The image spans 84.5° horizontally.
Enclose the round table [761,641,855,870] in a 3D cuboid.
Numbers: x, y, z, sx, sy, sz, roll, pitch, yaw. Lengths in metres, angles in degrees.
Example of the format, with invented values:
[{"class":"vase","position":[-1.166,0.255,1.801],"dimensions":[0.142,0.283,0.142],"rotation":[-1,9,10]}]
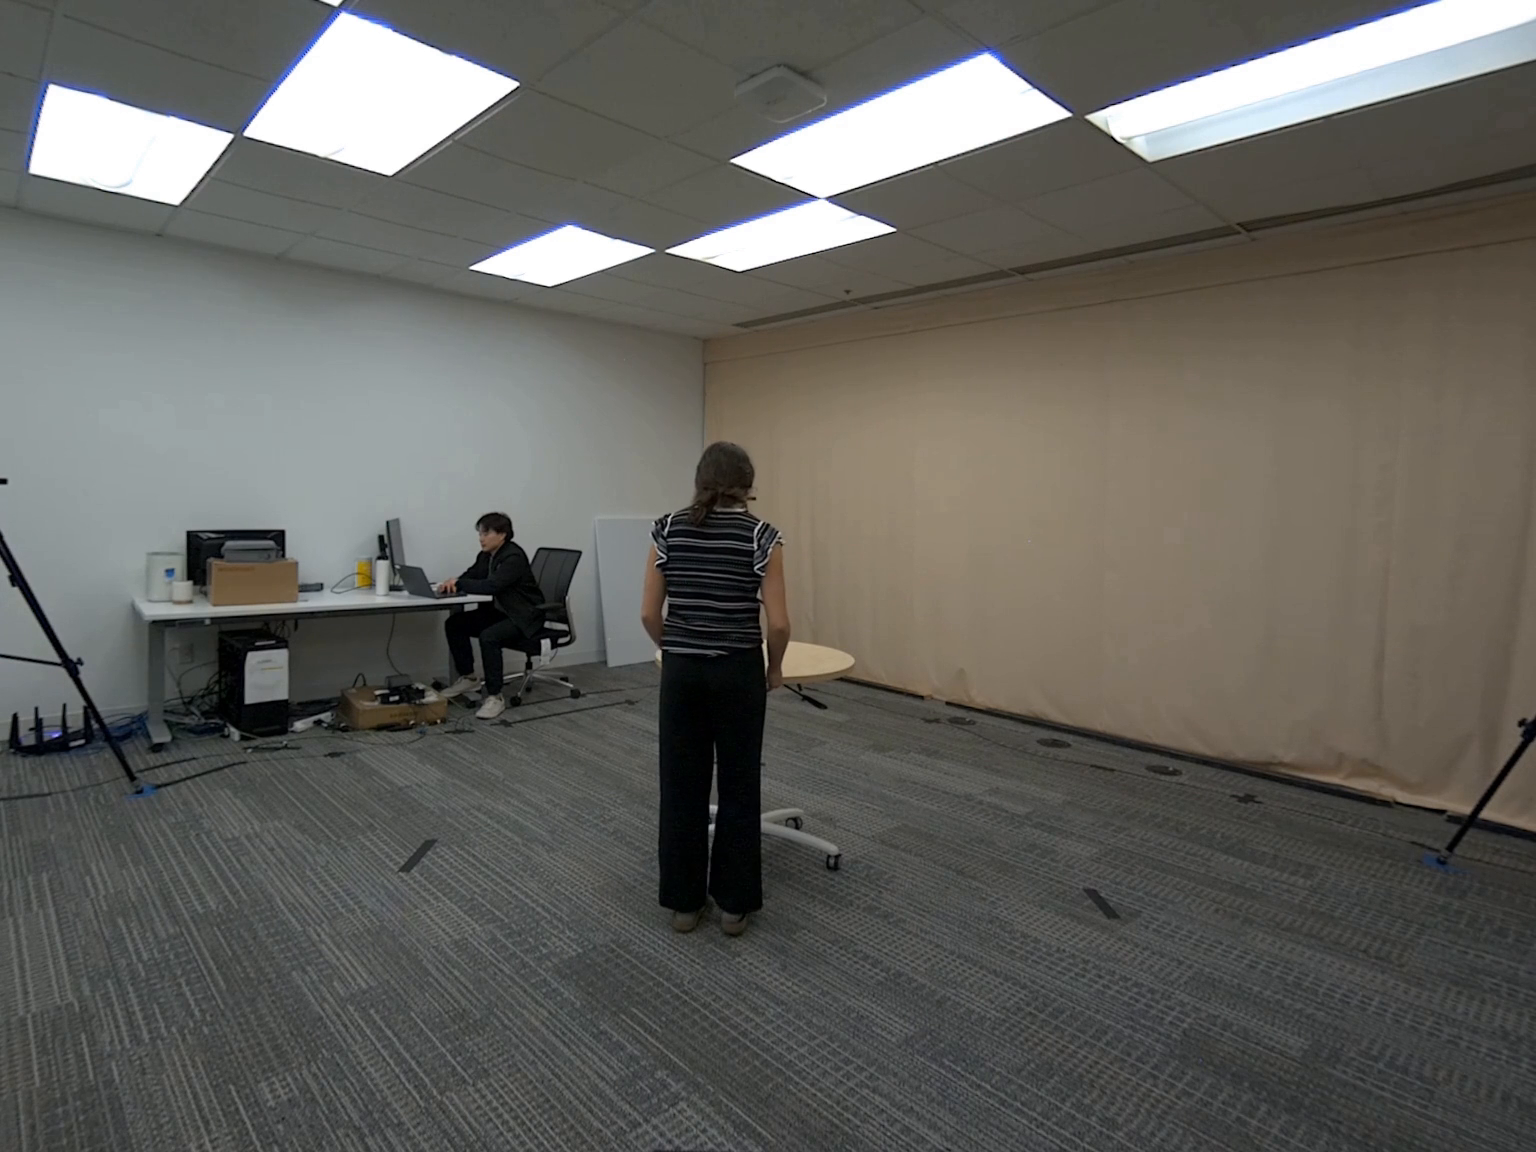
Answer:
[{"class":"round table","position":[-0.079,0.702,3.269],"dimensions":[0.784,0.784,0.788],"rotation":[2,4,-1]}]
